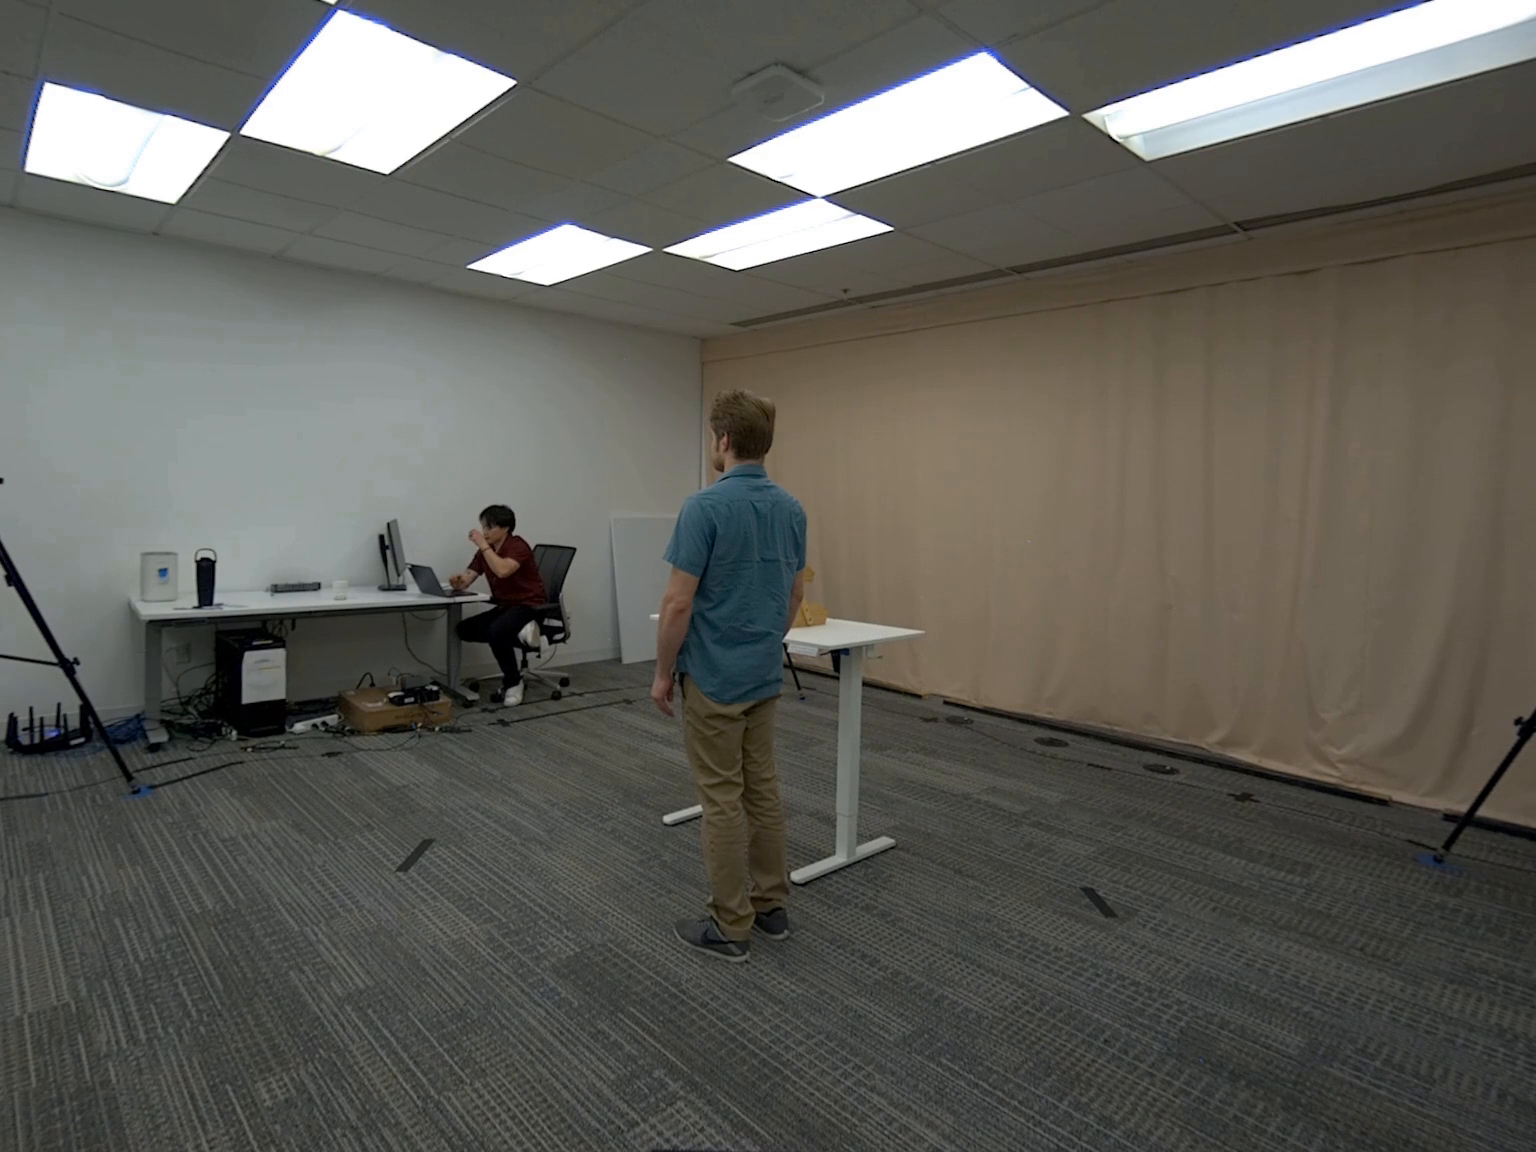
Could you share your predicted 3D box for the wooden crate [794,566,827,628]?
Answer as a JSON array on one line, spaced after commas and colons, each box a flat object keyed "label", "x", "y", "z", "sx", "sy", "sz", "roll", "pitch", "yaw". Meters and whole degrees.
[{"label": "wooden crate", "x": 0.039, "y": 0.063, "z": 3.472, "sx": 0.295, "sy": 0.272, "sz": 0.333, "roll": -3, "pitch": 6, "yaw": -44}]
